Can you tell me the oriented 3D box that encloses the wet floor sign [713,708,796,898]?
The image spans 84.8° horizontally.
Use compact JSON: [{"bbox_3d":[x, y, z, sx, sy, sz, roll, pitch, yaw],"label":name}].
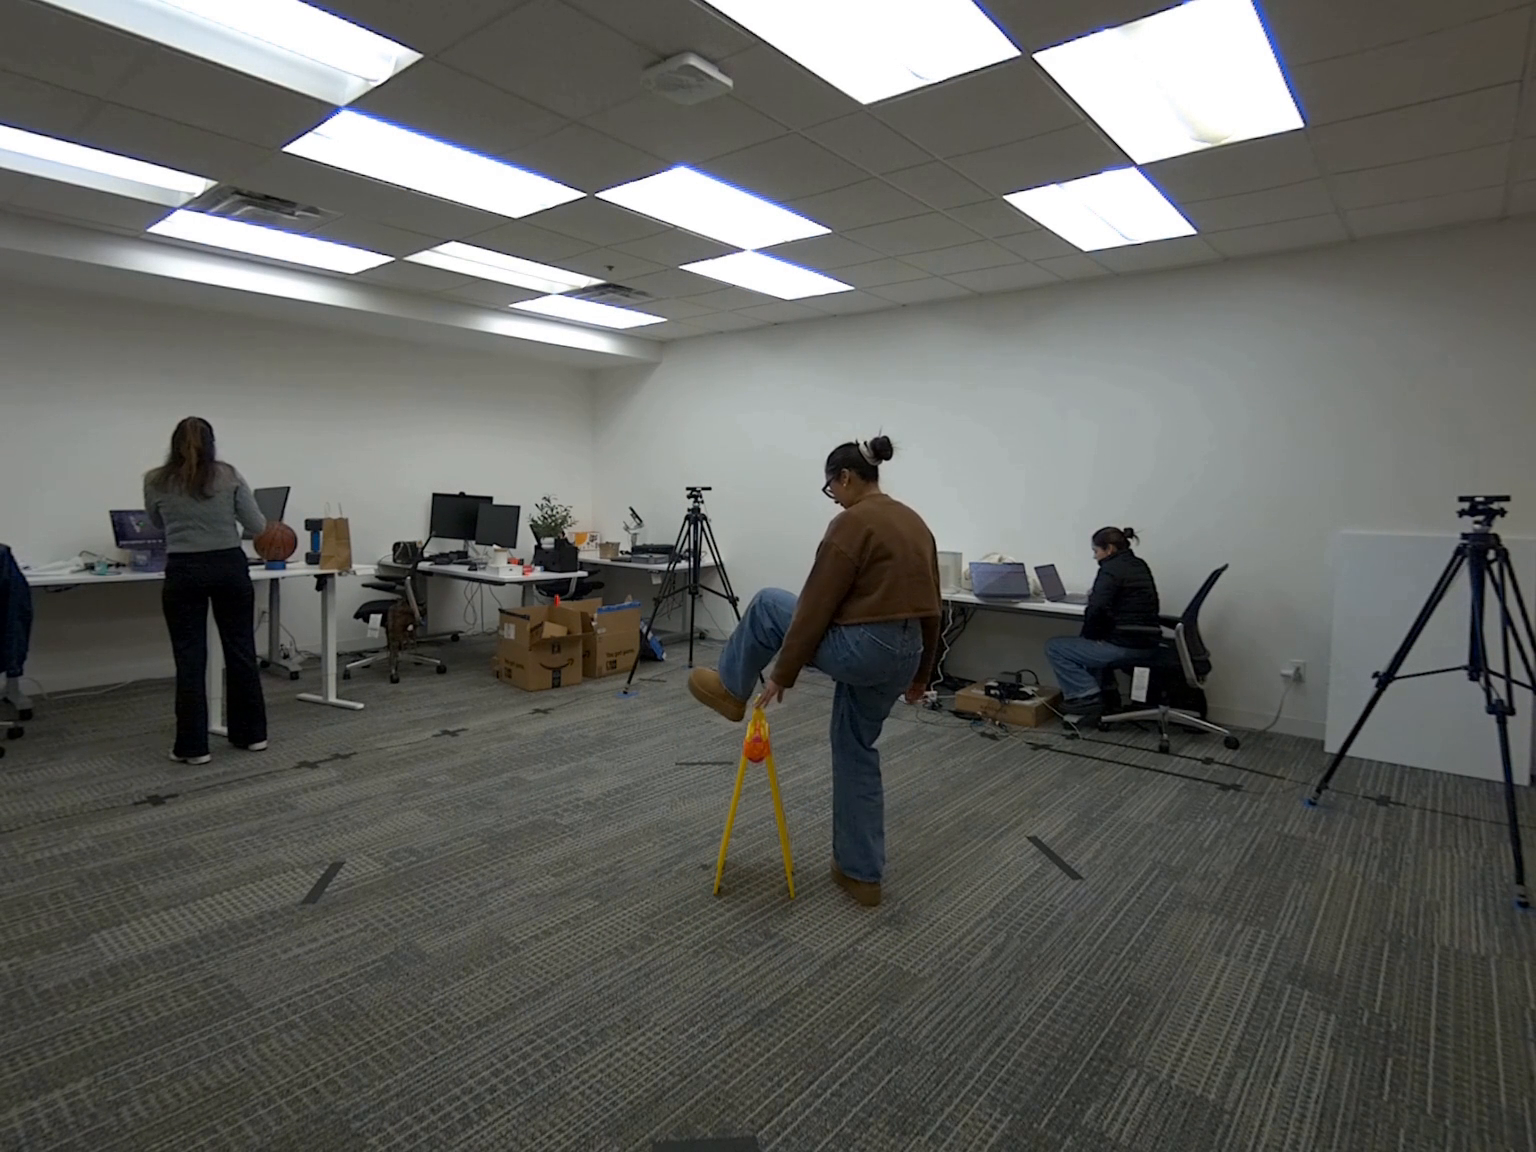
[{"bbox_3d":[-0.047,0.761,3.016,0.290,0.644,0.283,2,4,1],"label":"wet floor sign"}]
